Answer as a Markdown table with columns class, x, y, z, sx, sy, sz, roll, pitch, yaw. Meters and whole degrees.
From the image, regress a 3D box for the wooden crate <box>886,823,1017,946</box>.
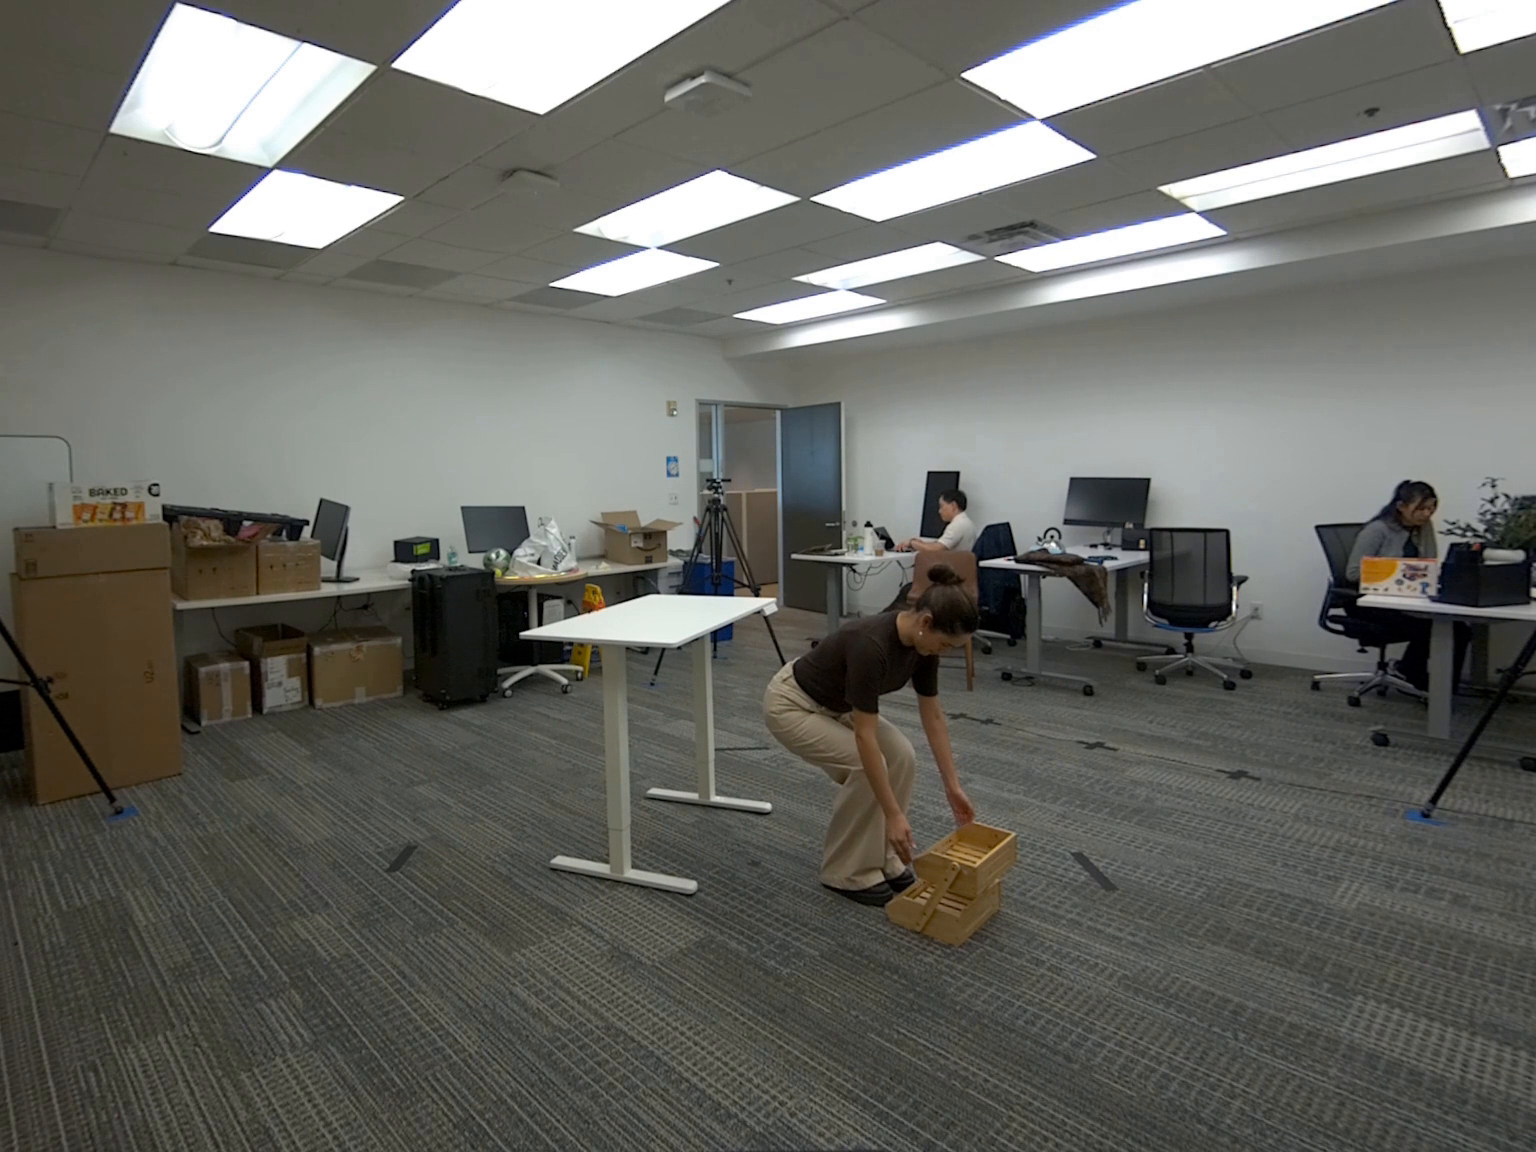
| class | x | y | z | sx | sy | sz | roll | pitch | yaw |
| --- | --- | --- | --- | --- | --- | --- | --- | --- | --- |
| wooden crate | 0.575 | 0.938 | 2.702 | 0.311 | 0.272 | 0.316 | 4 | 7 | 39 |
